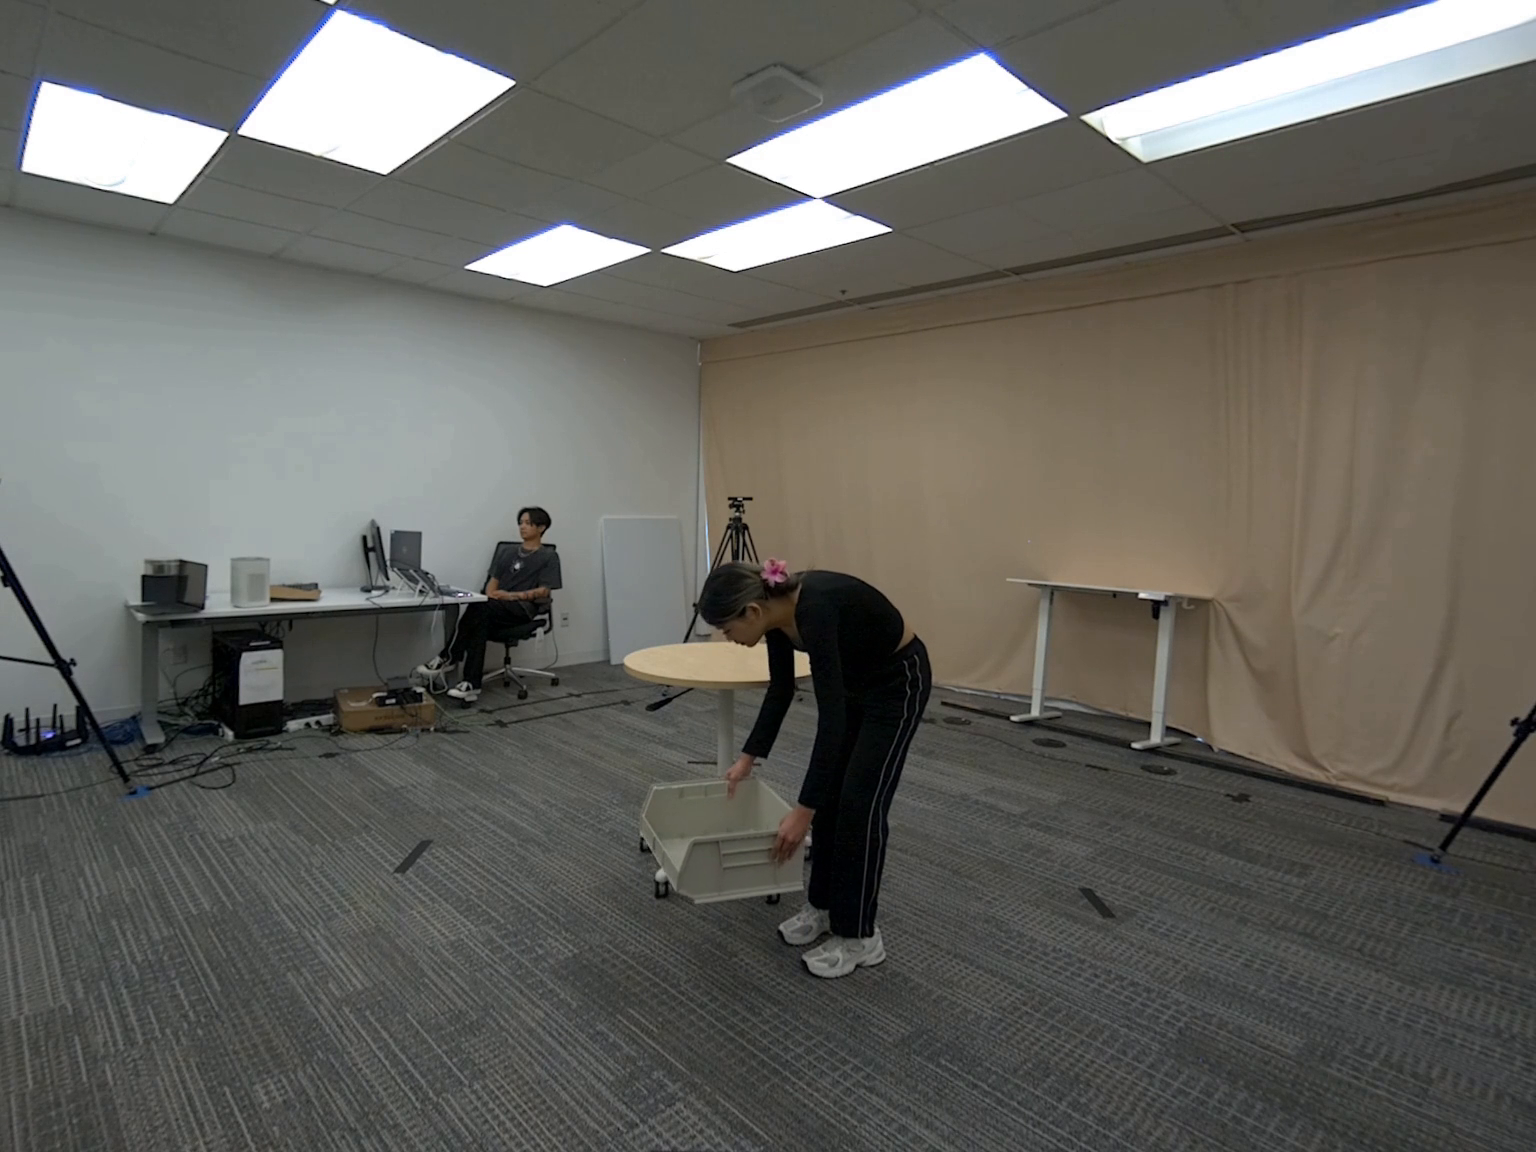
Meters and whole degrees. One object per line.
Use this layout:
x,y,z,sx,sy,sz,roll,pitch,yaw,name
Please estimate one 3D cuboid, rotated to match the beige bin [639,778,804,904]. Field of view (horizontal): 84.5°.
-0.139,0.749,2.420,0.372,0.188,0.430,2,5,-20,beige bin
